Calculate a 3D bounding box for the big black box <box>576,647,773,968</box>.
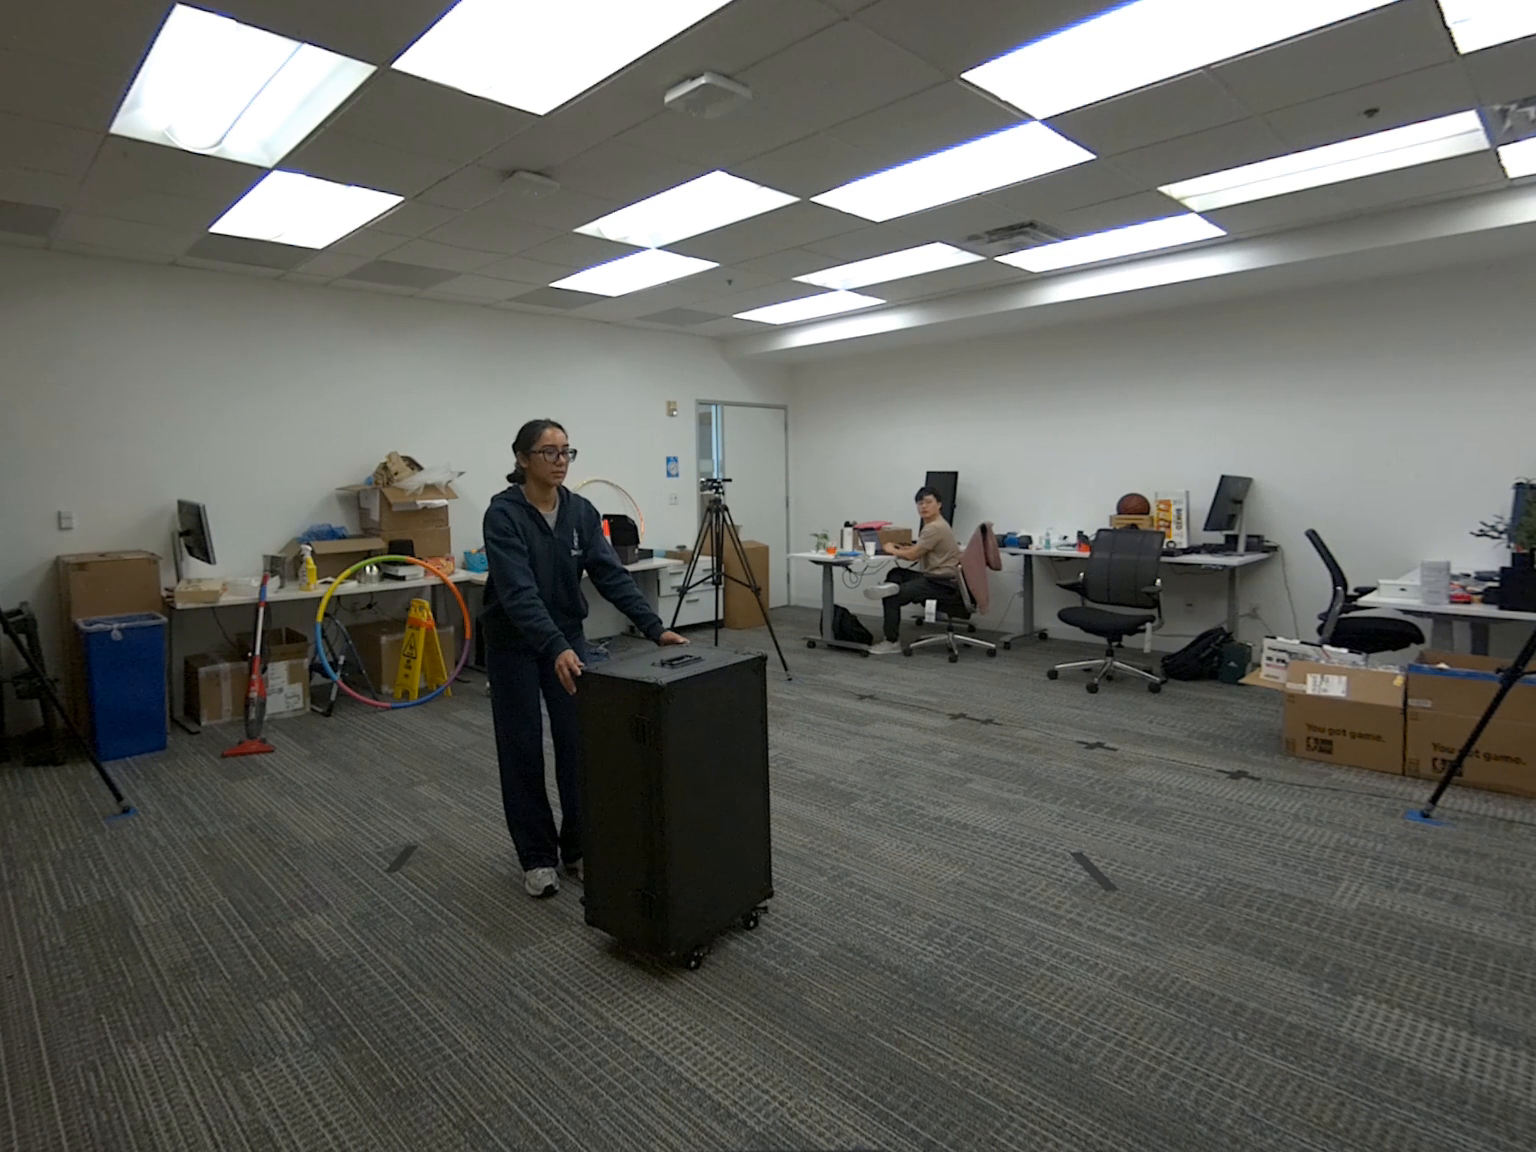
[{"bbox_3d":[-0.285,0.685,2.618,0.408,0.859,0.508,0,4,40],"label":"big black box"}]
